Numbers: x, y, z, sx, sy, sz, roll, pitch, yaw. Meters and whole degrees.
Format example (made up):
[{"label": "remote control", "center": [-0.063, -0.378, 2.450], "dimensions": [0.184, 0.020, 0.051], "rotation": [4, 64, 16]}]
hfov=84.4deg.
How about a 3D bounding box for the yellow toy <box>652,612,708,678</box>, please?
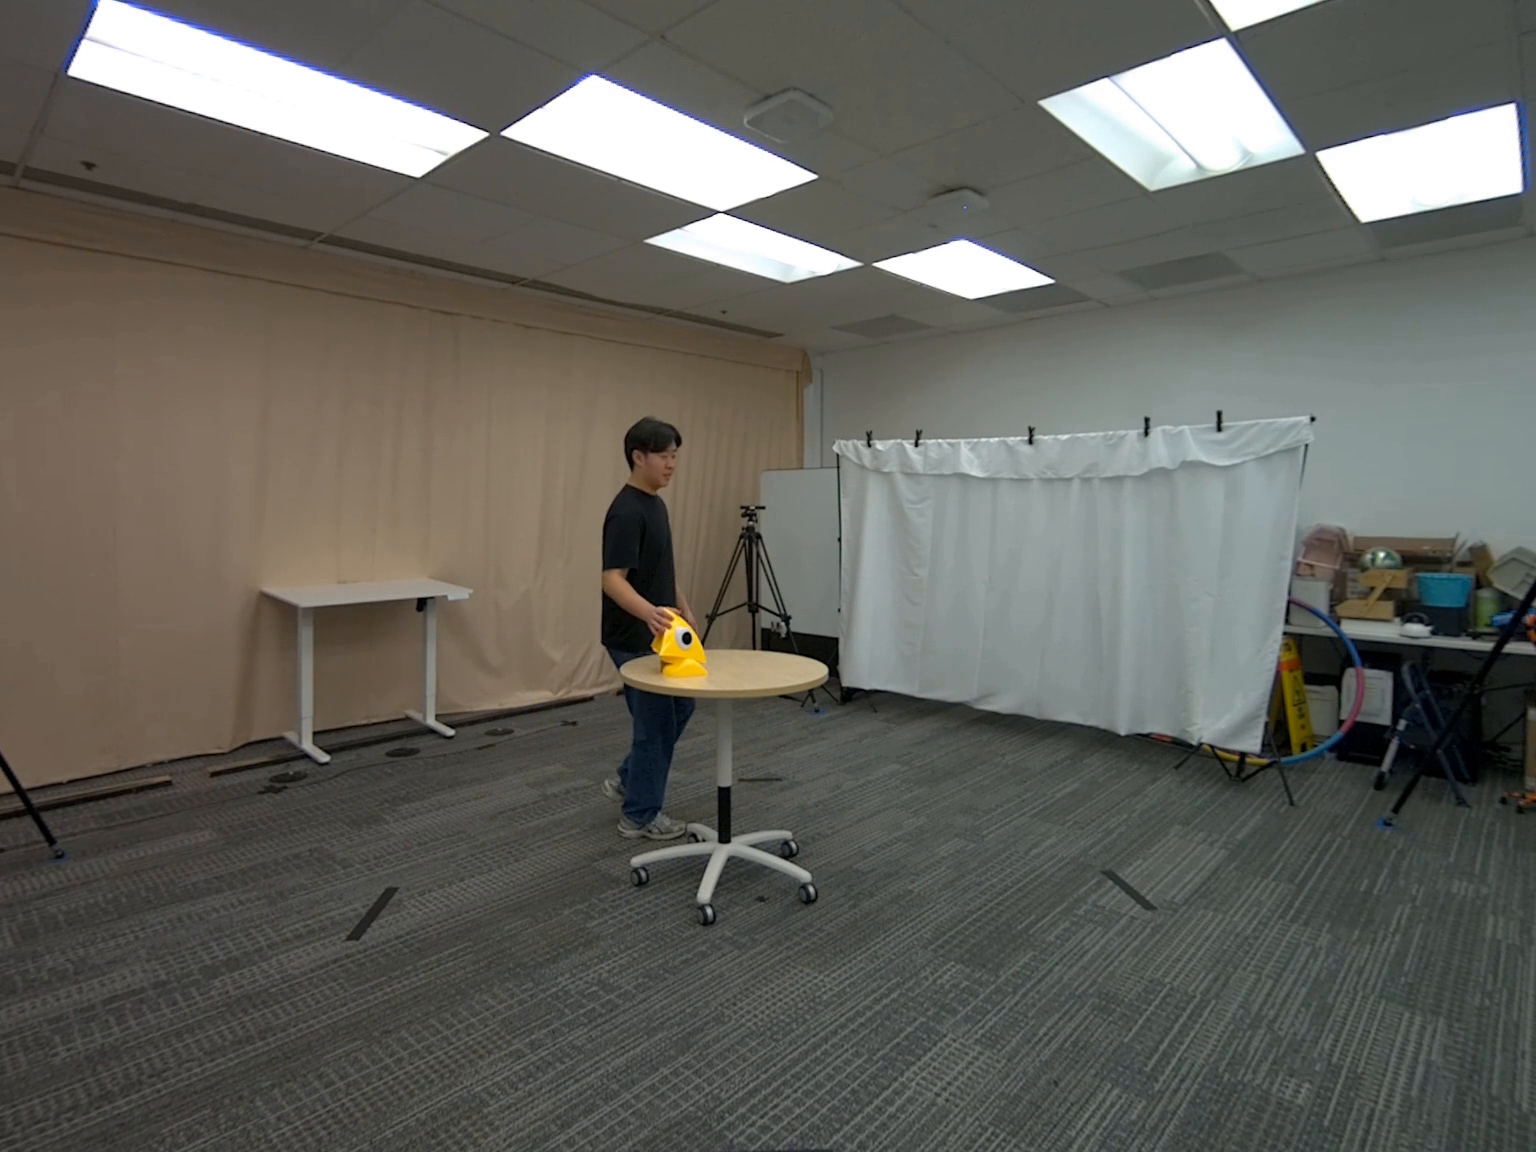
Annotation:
[{"label": "yellow toy", "center": [-0.309, 0.229, 3.032], "dimensions": [0.190, 0.230, 0.208], "rotation": [-2, 4, -15]}]
